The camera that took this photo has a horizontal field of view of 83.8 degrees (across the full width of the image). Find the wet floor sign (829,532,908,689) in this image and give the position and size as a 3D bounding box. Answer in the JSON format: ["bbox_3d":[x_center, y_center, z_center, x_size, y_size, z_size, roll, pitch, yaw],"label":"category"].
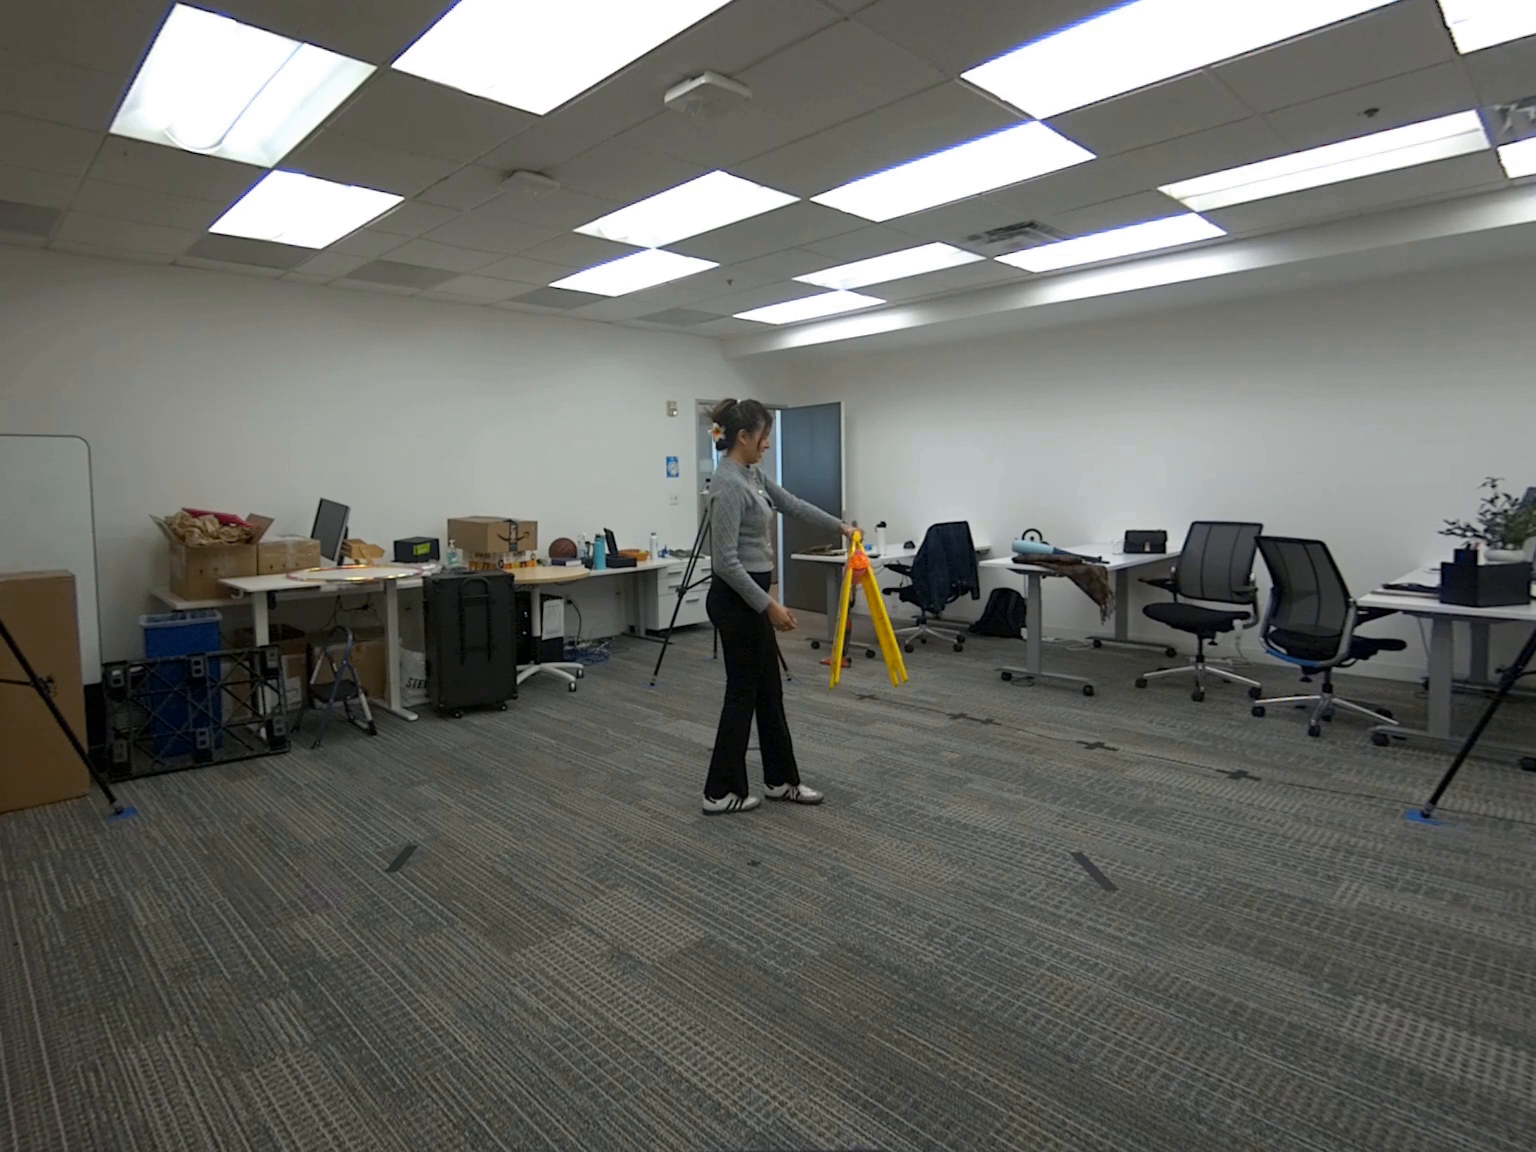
[{"bbox_3d":[0.384,0.136,3.629,0.290,0.656,0.278,-4,-15,-1],"label":"wet floor sign"}]
